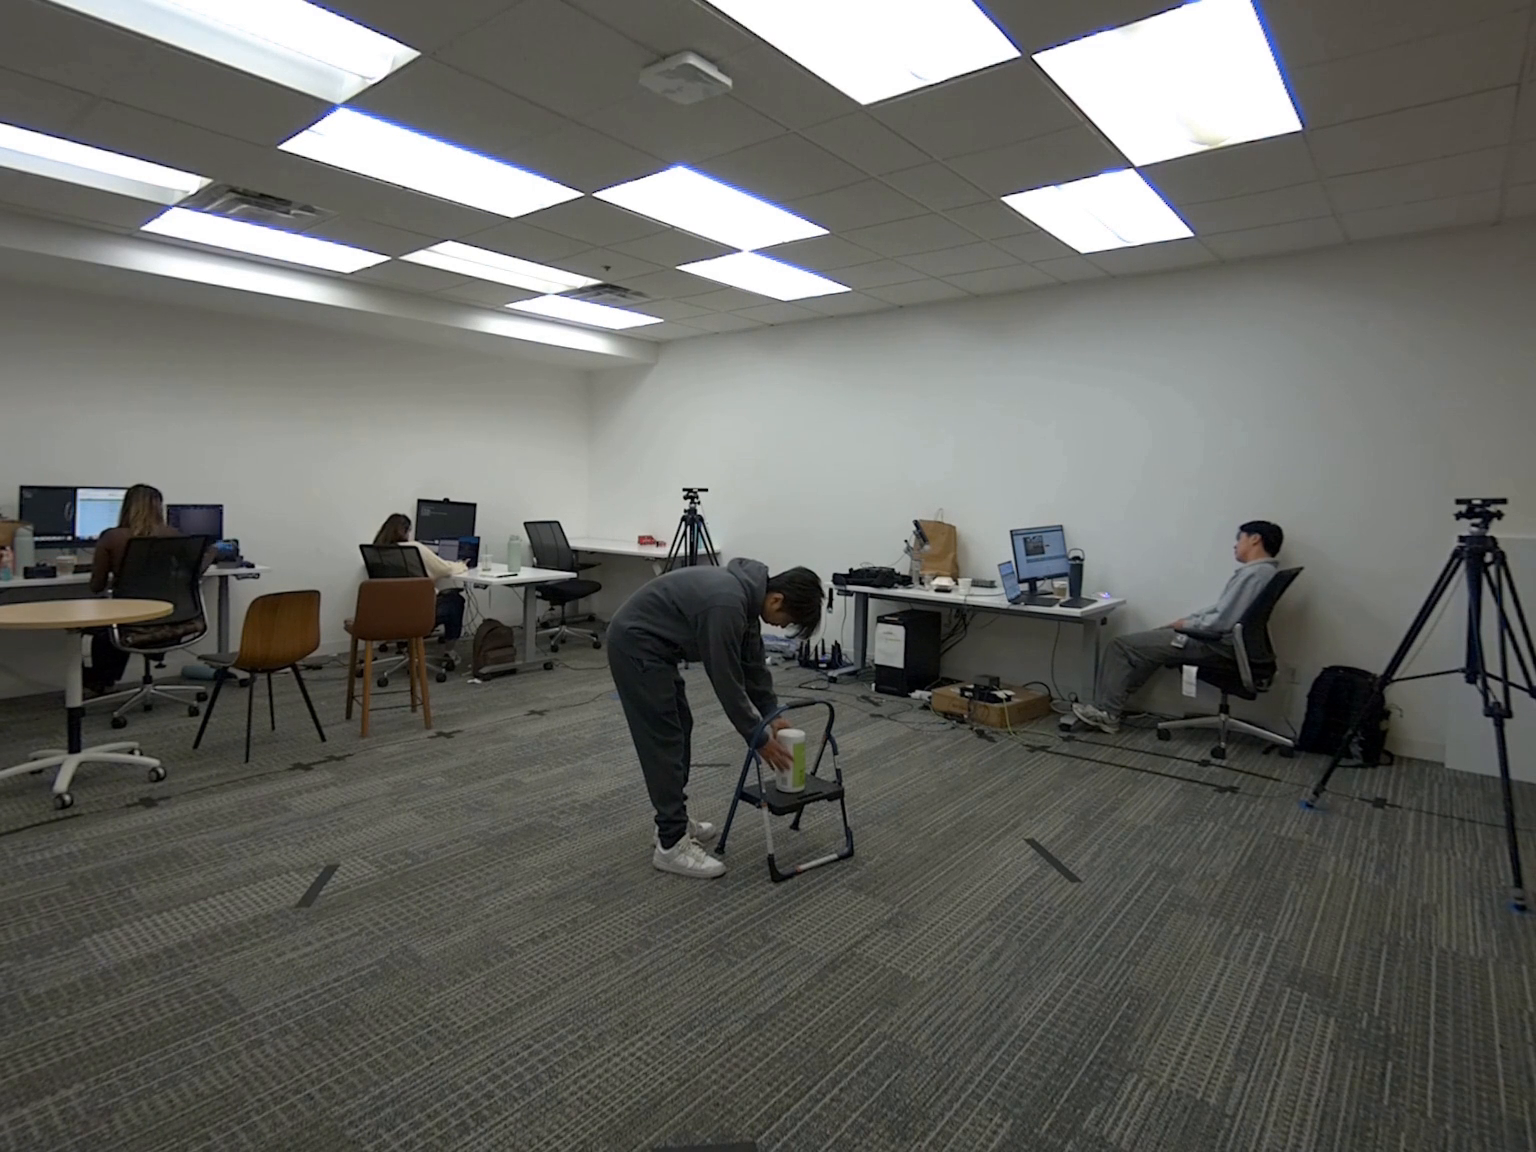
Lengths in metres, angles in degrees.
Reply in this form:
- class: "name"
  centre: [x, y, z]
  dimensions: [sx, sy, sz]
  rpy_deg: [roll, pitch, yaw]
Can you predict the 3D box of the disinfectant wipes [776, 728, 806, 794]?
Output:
- class: "disinfectant wipes"
  centre: [0.077, 0.703, 3.220]
  dimensions: [0.118, 0.217, 0.118]
  rpy_deg: [1, 3, -2]
